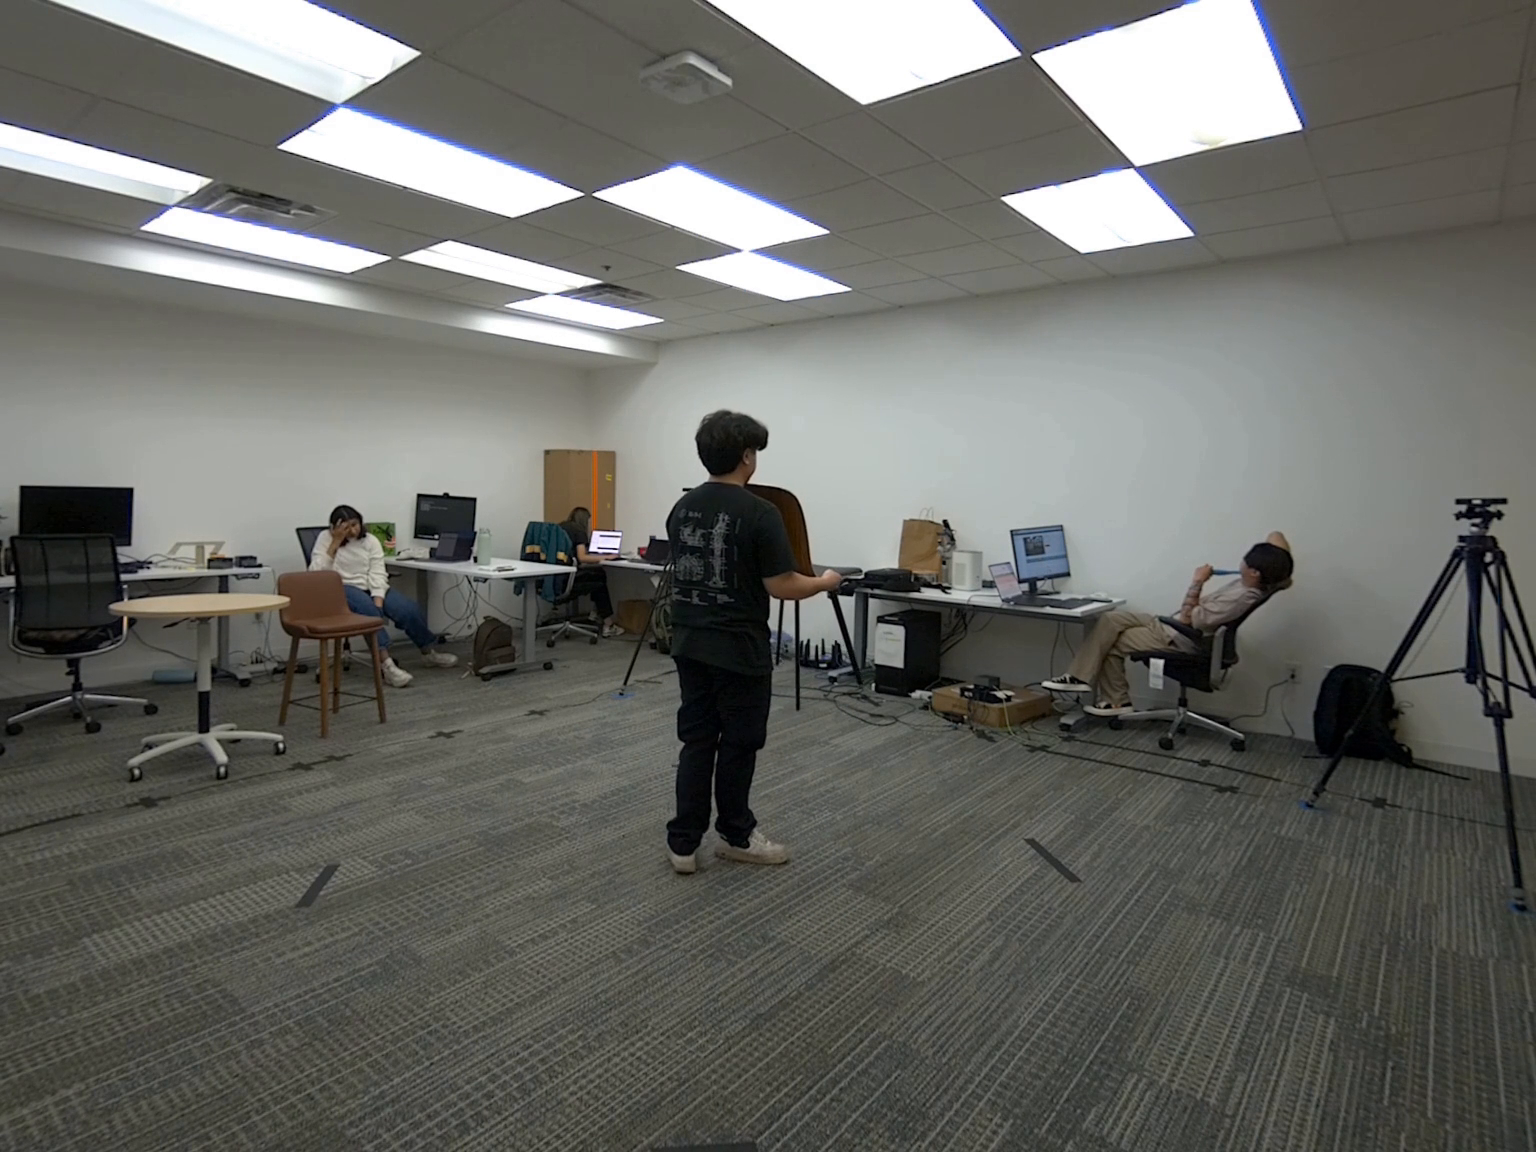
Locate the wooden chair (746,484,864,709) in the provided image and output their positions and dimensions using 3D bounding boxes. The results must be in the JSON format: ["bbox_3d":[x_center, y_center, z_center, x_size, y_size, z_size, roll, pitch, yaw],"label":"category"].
[{"bbox_3d":[0.075,0.036,3.438,0.495,0.869,0.510,7,13,40],"label":"wooden chair"}]
